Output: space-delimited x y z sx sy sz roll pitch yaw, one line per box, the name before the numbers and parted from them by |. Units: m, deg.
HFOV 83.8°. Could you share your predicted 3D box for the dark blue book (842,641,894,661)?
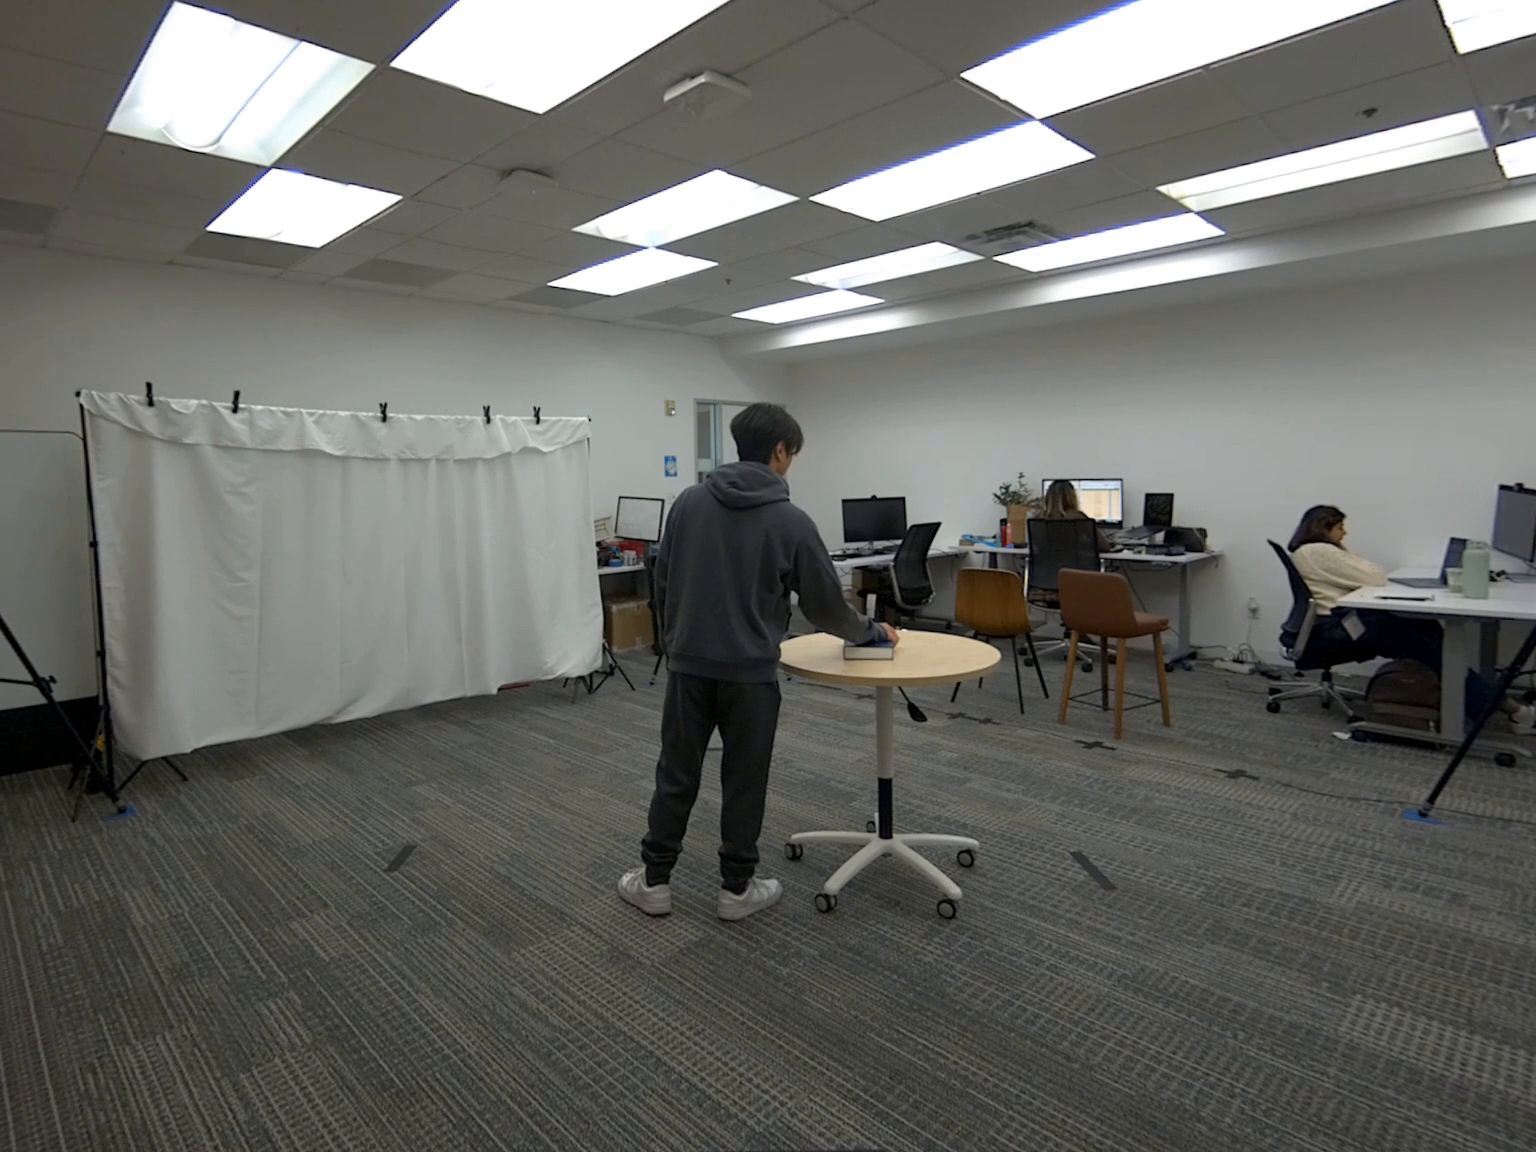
dark blue book | 0.344 0.239 2.924 0.165 0.045 0.244 0 7 8
